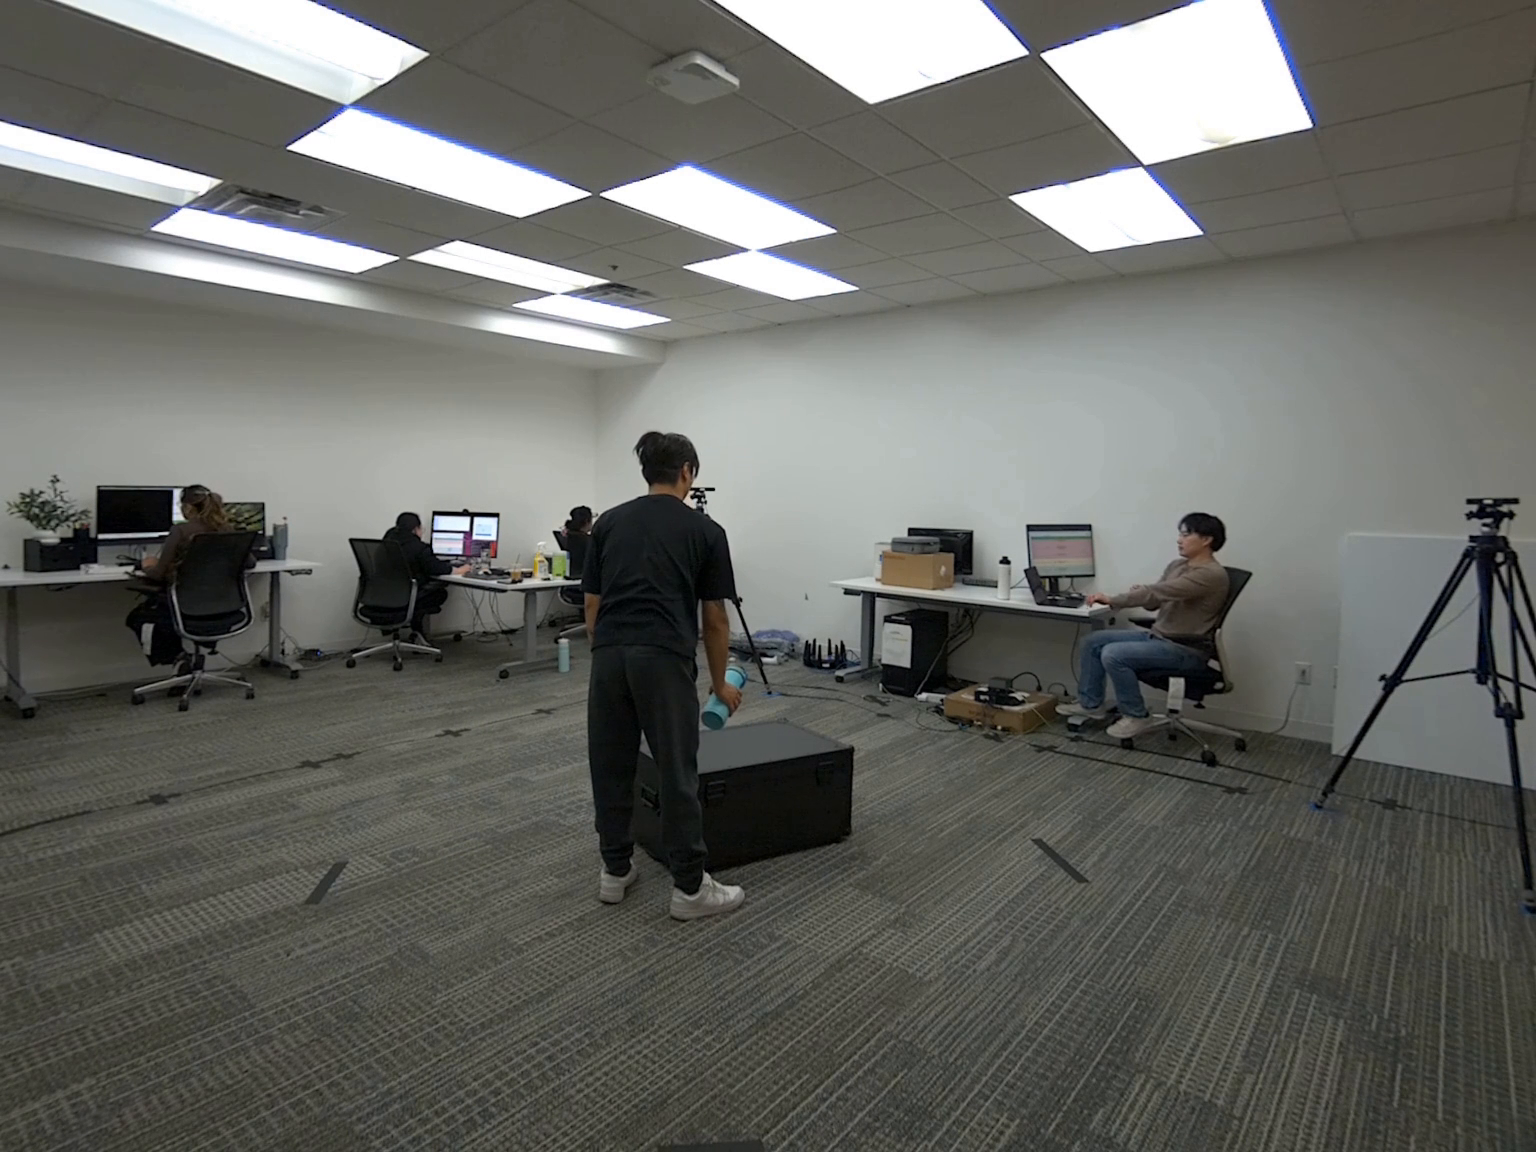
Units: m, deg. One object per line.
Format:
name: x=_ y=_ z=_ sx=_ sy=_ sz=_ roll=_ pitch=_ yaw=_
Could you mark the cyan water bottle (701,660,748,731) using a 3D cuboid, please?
cyan water bottle: x=-0.163 y=0.424 z=3.081 sx=0.094 sy=0.089 sz=0.285 roll=2 pitch=34 yaw=20
